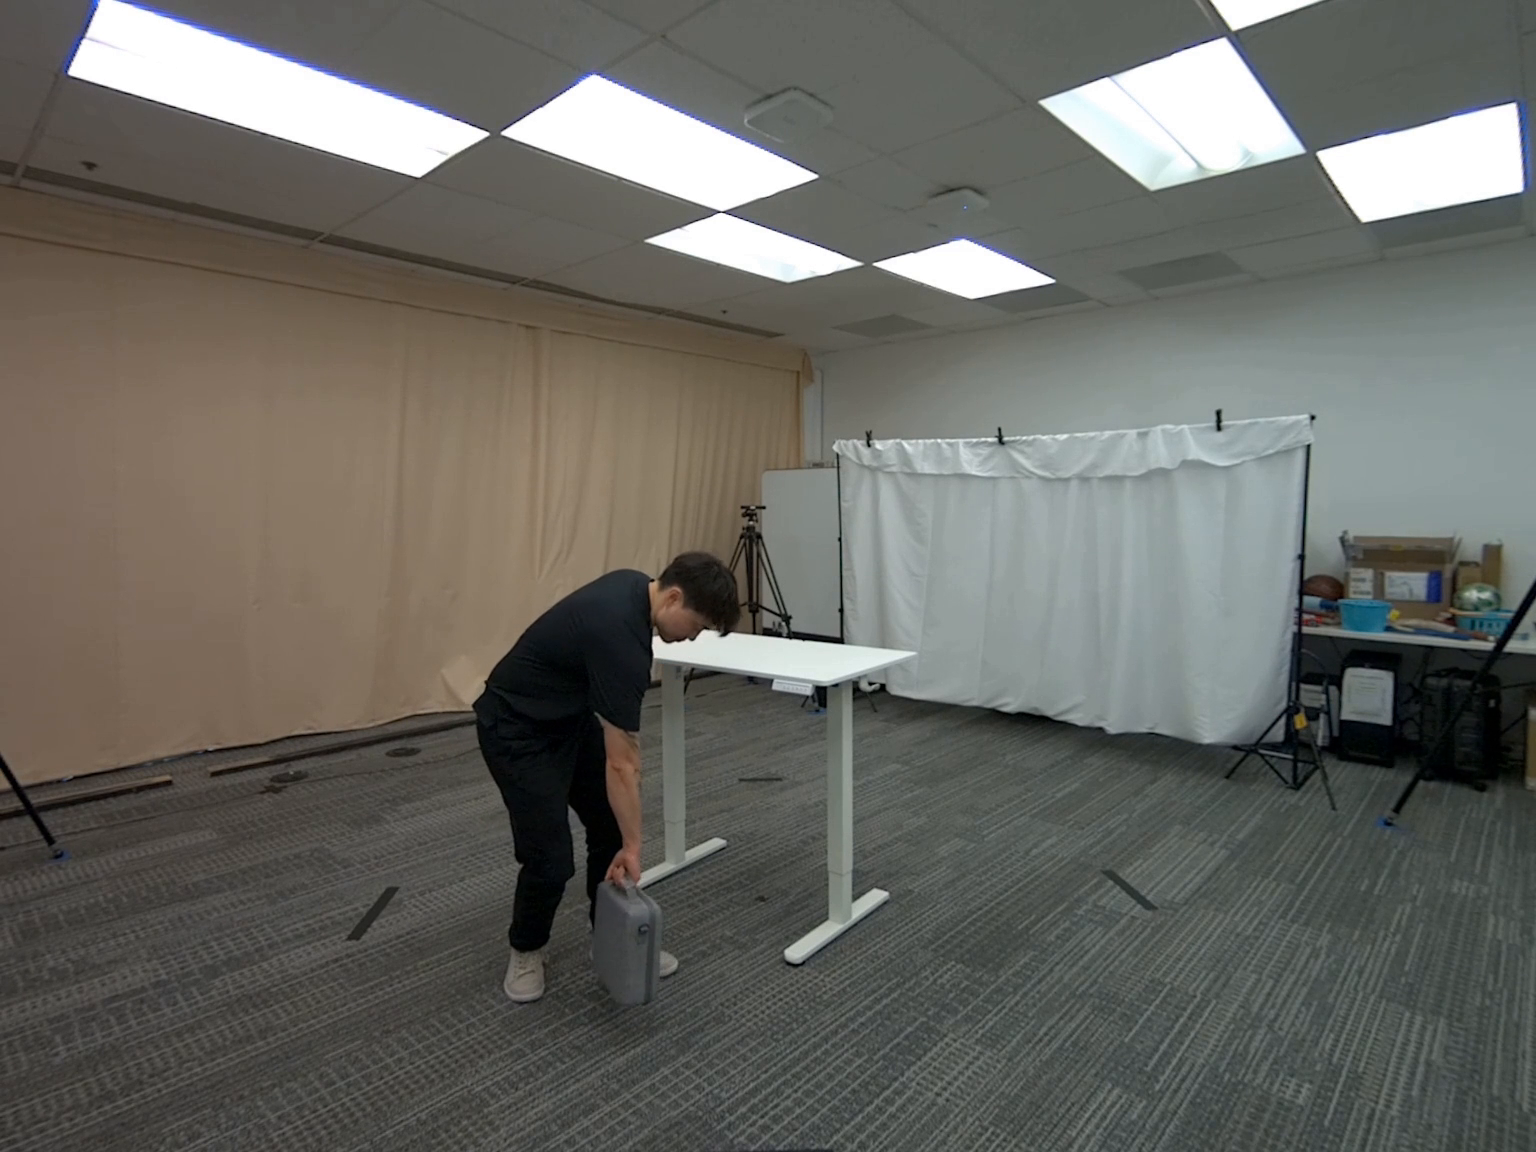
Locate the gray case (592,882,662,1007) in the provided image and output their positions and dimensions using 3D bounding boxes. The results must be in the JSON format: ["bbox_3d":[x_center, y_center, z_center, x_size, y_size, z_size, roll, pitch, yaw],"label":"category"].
[{"bbox_3d":[-0.376,0.962,2.252,0.101,0.261,0.263,6,-3,-27],"label":"gray case"}]
